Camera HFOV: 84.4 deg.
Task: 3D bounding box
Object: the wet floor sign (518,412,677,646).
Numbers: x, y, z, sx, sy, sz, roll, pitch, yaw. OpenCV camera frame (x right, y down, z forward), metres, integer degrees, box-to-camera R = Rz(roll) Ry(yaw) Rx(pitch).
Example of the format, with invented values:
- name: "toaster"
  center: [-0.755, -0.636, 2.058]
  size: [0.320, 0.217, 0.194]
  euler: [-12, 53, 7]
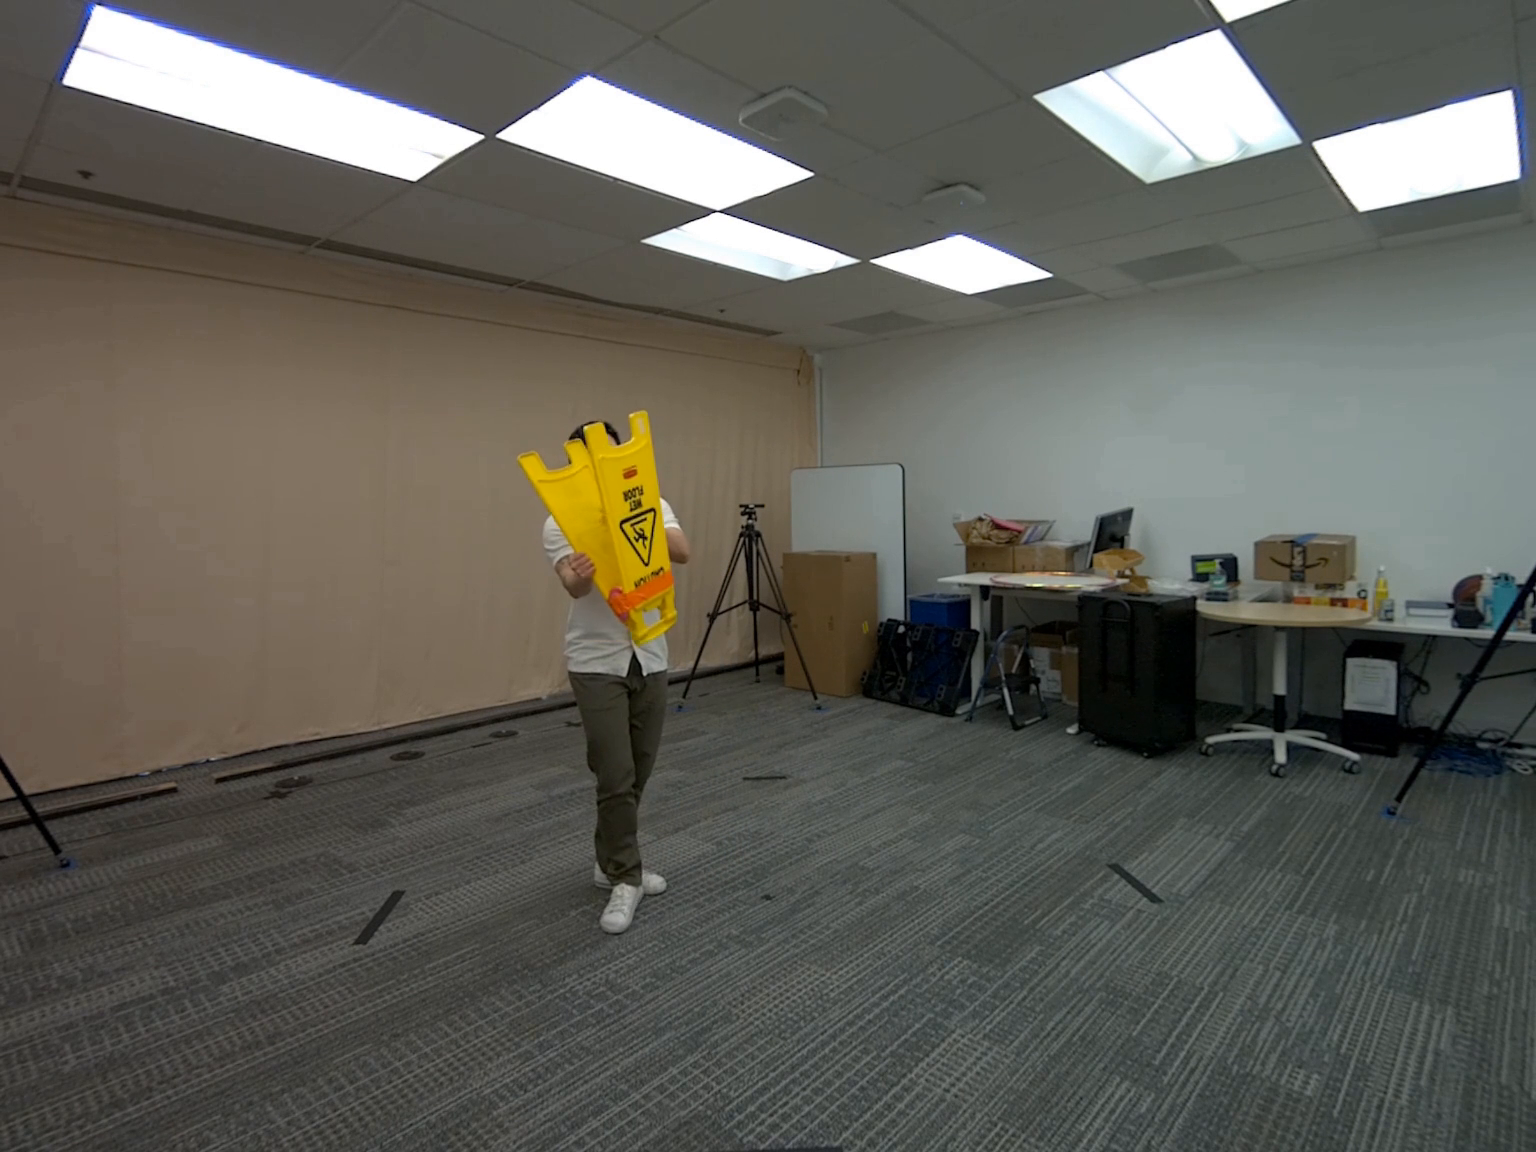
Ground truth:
- name: "wet floor sign"
  center: [-0.442, -0.123, 2.504]
  size: [0.297, 0.642, 0.277]
  euler: [-14, 9, 36]
